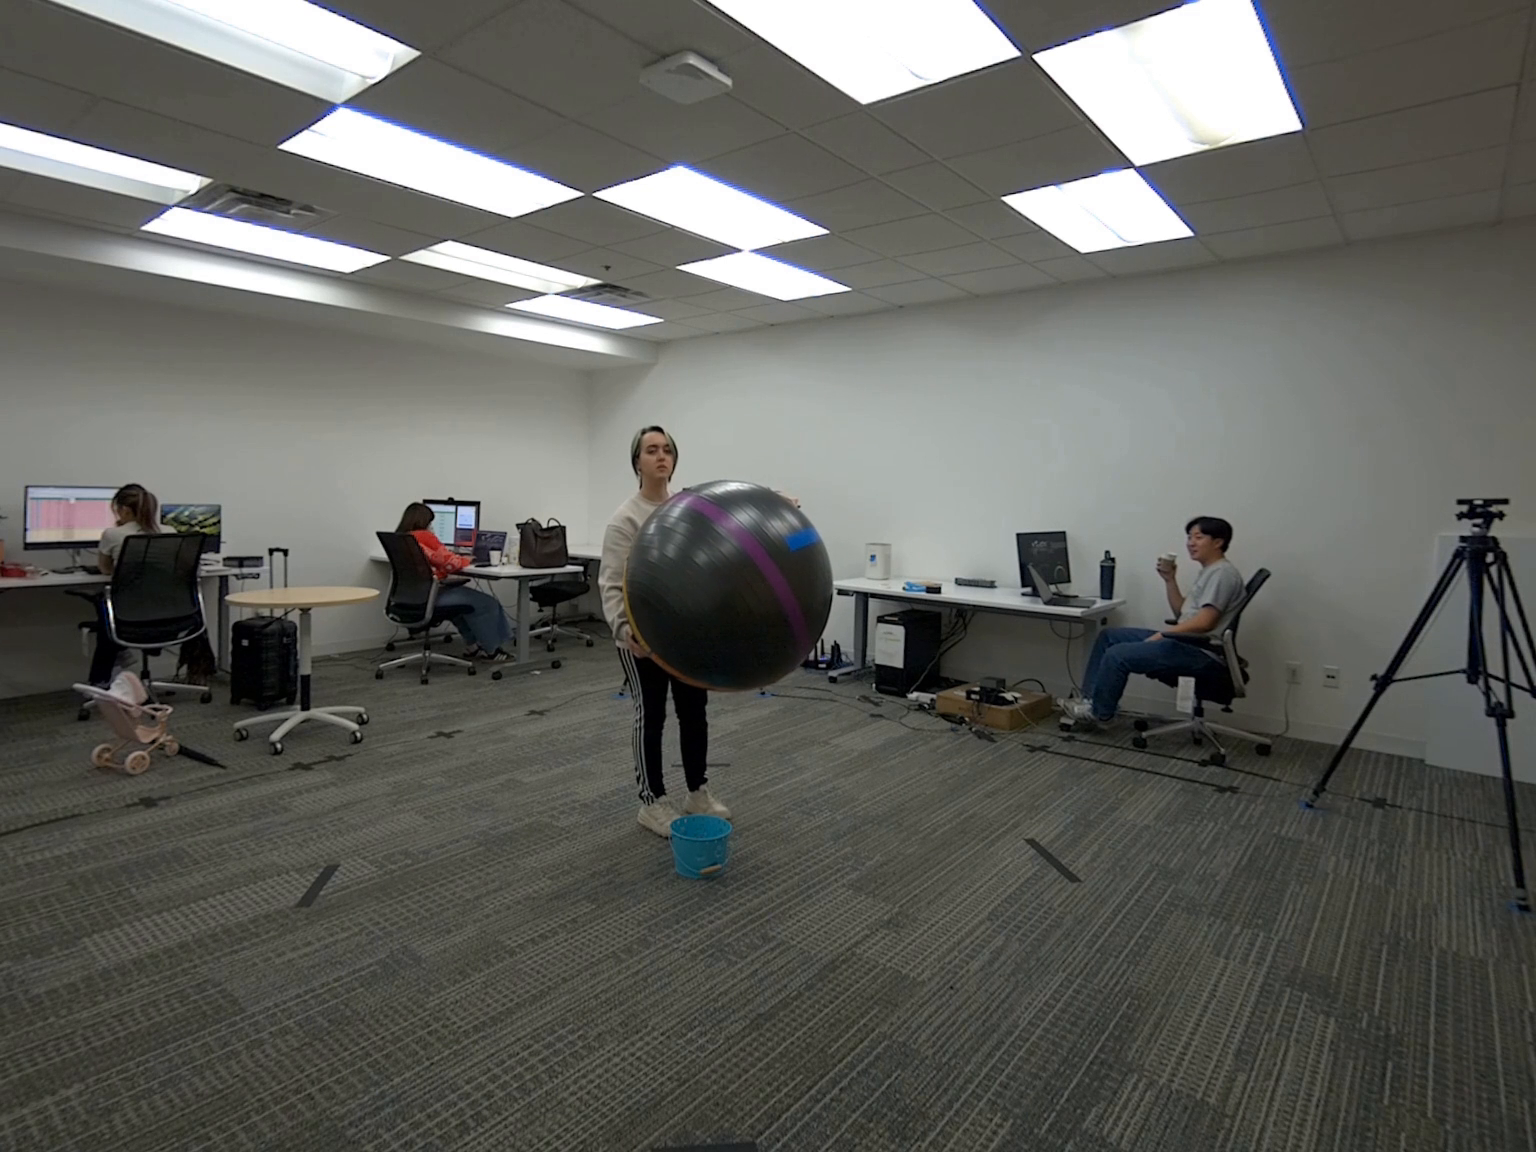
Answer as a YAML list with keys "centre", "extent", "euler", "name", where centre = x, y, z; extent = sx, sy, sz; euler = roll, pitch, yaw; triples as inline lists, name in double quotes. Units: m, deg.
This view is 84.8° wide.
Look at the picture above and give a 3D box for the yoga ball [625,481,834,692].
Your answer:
- centre: [-0.151, 0.041, 3.062]
  extent: [0.757, 0.756, 0.762]
  euler: [1, 4, -2]
  name: "yoga ball"
